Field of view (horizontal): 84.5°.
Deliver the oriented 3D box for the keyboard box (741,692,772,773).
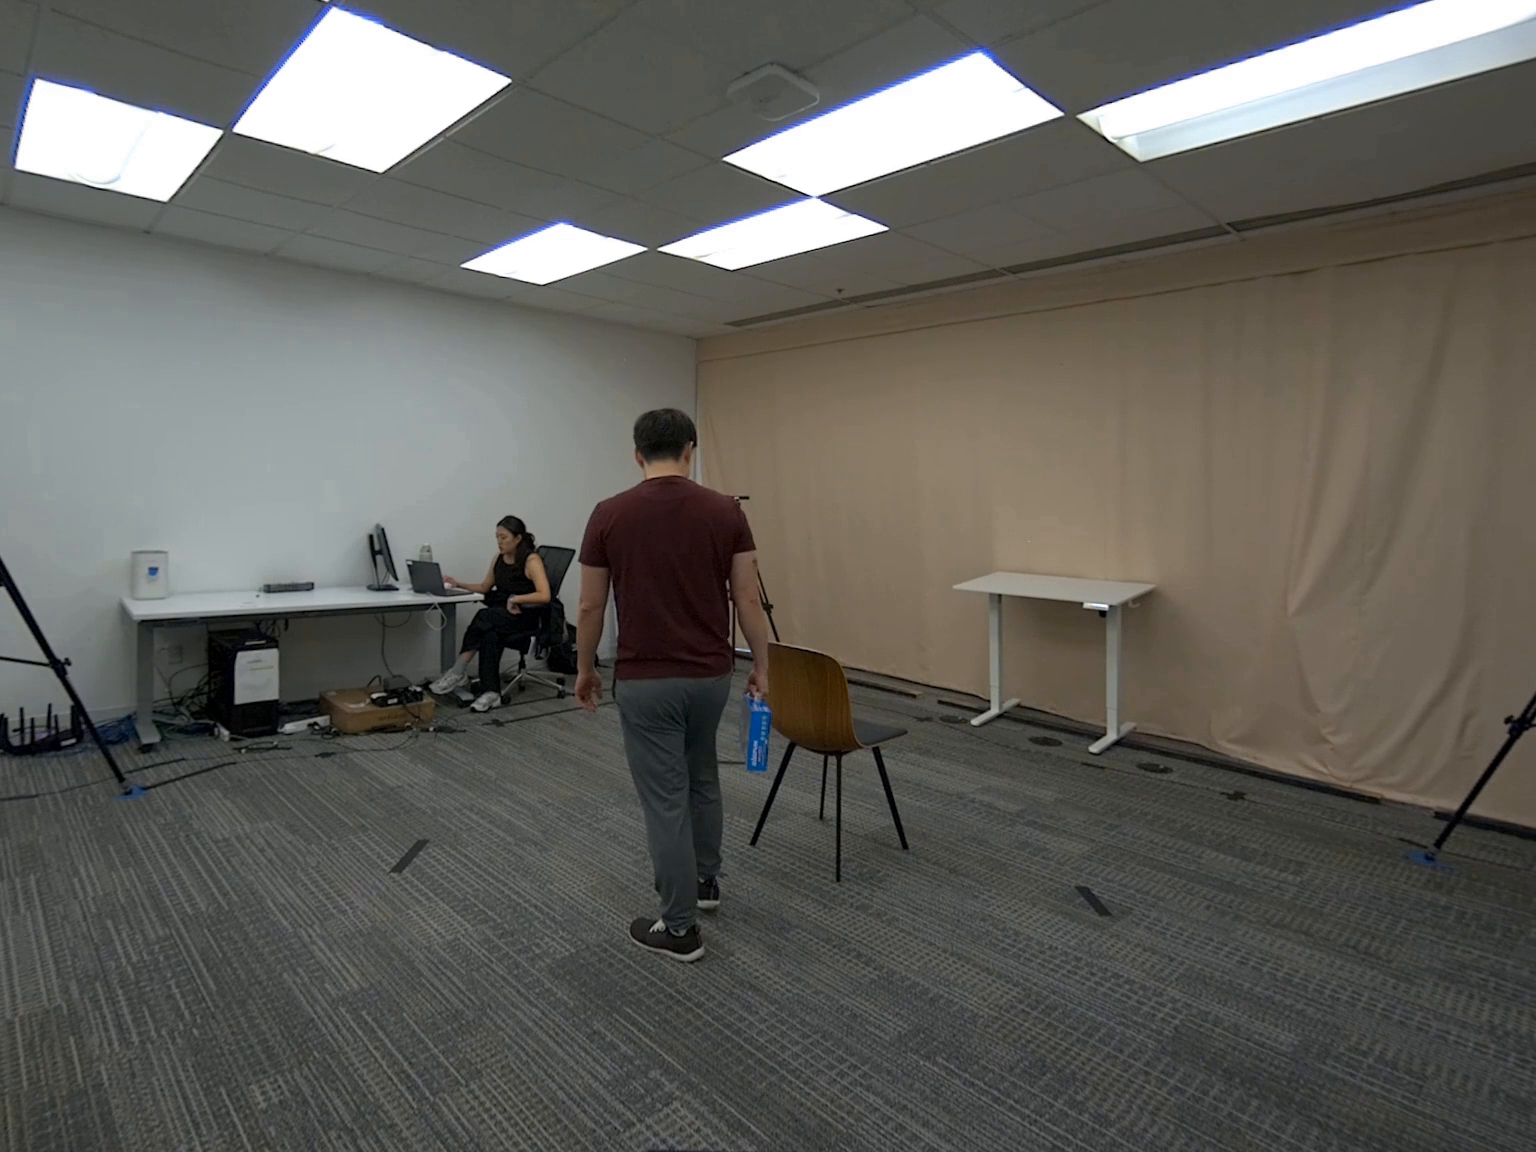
[{"bbox_3d":[-0.047,0.482,2.653,0.059,0.176,0.438,5,0,-5],"label":"keyboard box"}]
